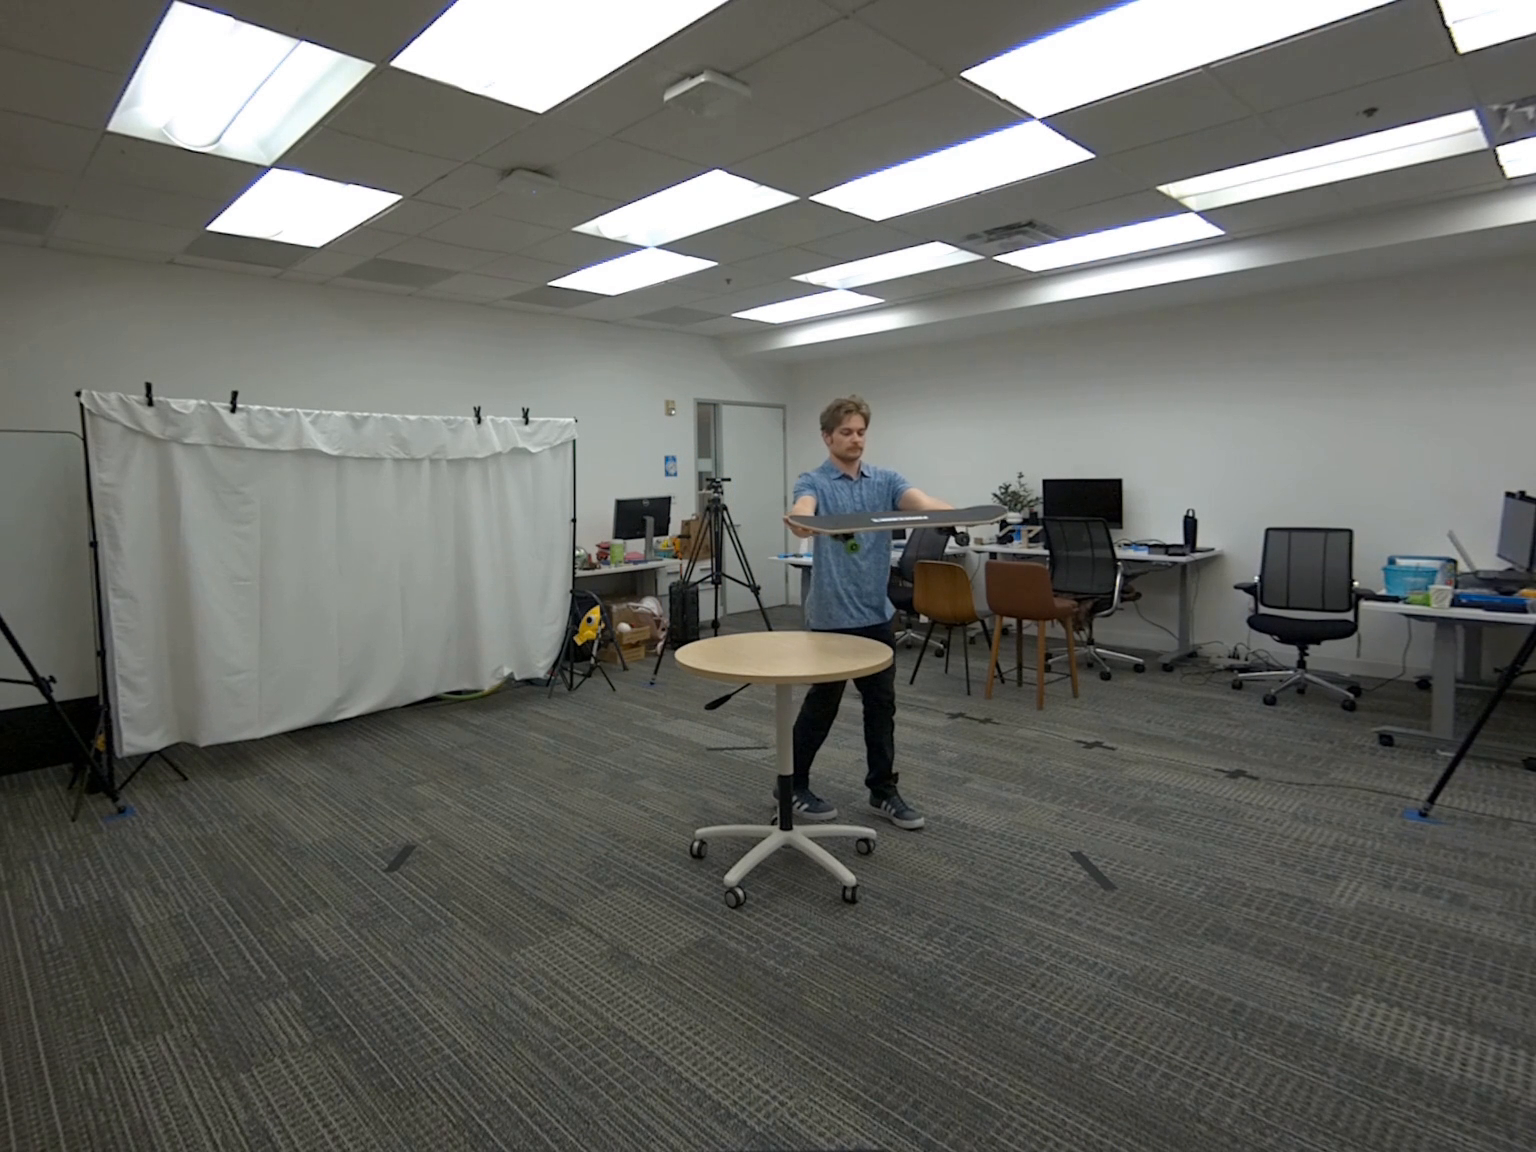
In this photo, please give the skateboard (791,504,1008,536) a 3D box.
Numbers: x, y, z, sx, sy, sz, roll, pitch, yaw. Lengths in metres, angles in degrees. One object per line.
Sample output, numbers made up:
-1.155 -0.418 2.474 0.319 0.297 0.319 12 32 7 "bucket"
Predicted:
0.458 -0.159 2.940 0.776 0.109 0.198 -4 17 -14 "skateboard"
